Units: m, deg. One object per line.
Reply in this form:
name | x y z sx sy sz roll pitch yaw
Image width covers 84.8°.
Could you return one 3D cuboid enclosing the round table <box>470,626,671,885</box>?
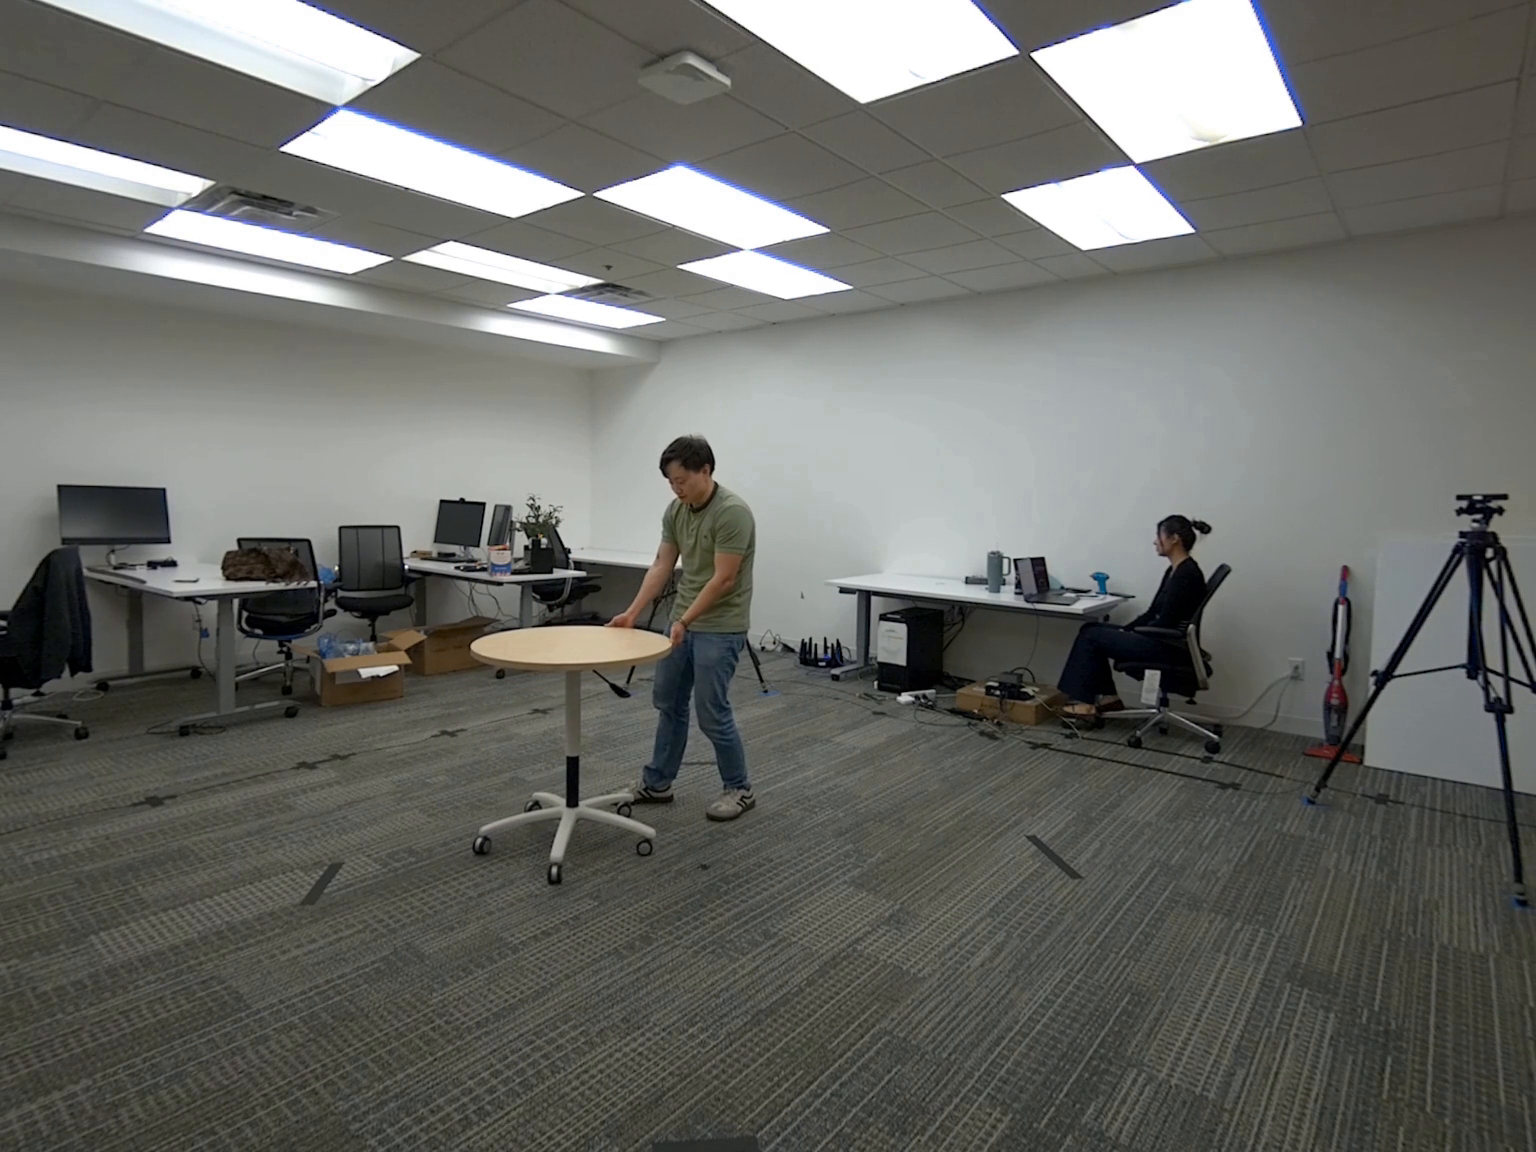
round table | -0.778 0.649 3.307 0.763 0.791 0.768 1 4 -2
